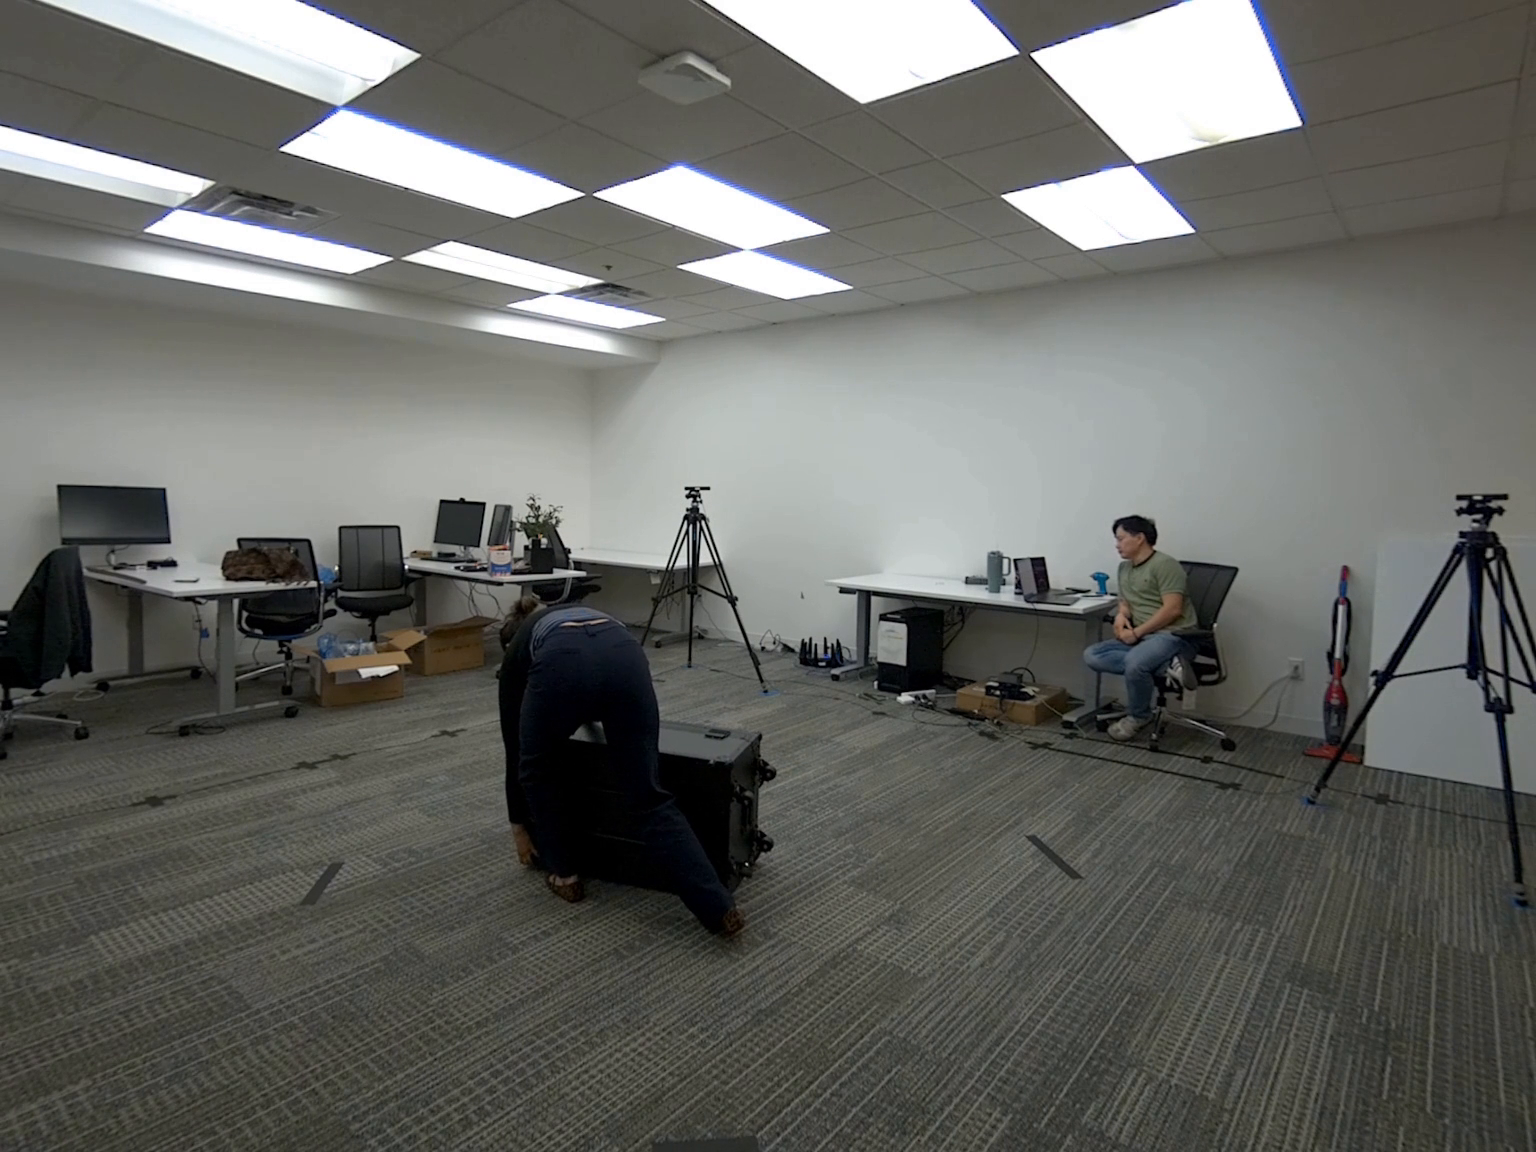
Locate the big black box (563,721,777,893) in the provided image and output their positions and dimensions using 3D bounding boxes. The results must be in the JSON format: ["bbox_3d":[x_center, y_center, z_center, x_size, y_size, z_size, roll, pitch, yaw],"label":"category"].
[{"bbox_3d":[-0.435,0.802,3.083,0.879,0.519,0.390,3,5,18],"label":"big black box"}]
